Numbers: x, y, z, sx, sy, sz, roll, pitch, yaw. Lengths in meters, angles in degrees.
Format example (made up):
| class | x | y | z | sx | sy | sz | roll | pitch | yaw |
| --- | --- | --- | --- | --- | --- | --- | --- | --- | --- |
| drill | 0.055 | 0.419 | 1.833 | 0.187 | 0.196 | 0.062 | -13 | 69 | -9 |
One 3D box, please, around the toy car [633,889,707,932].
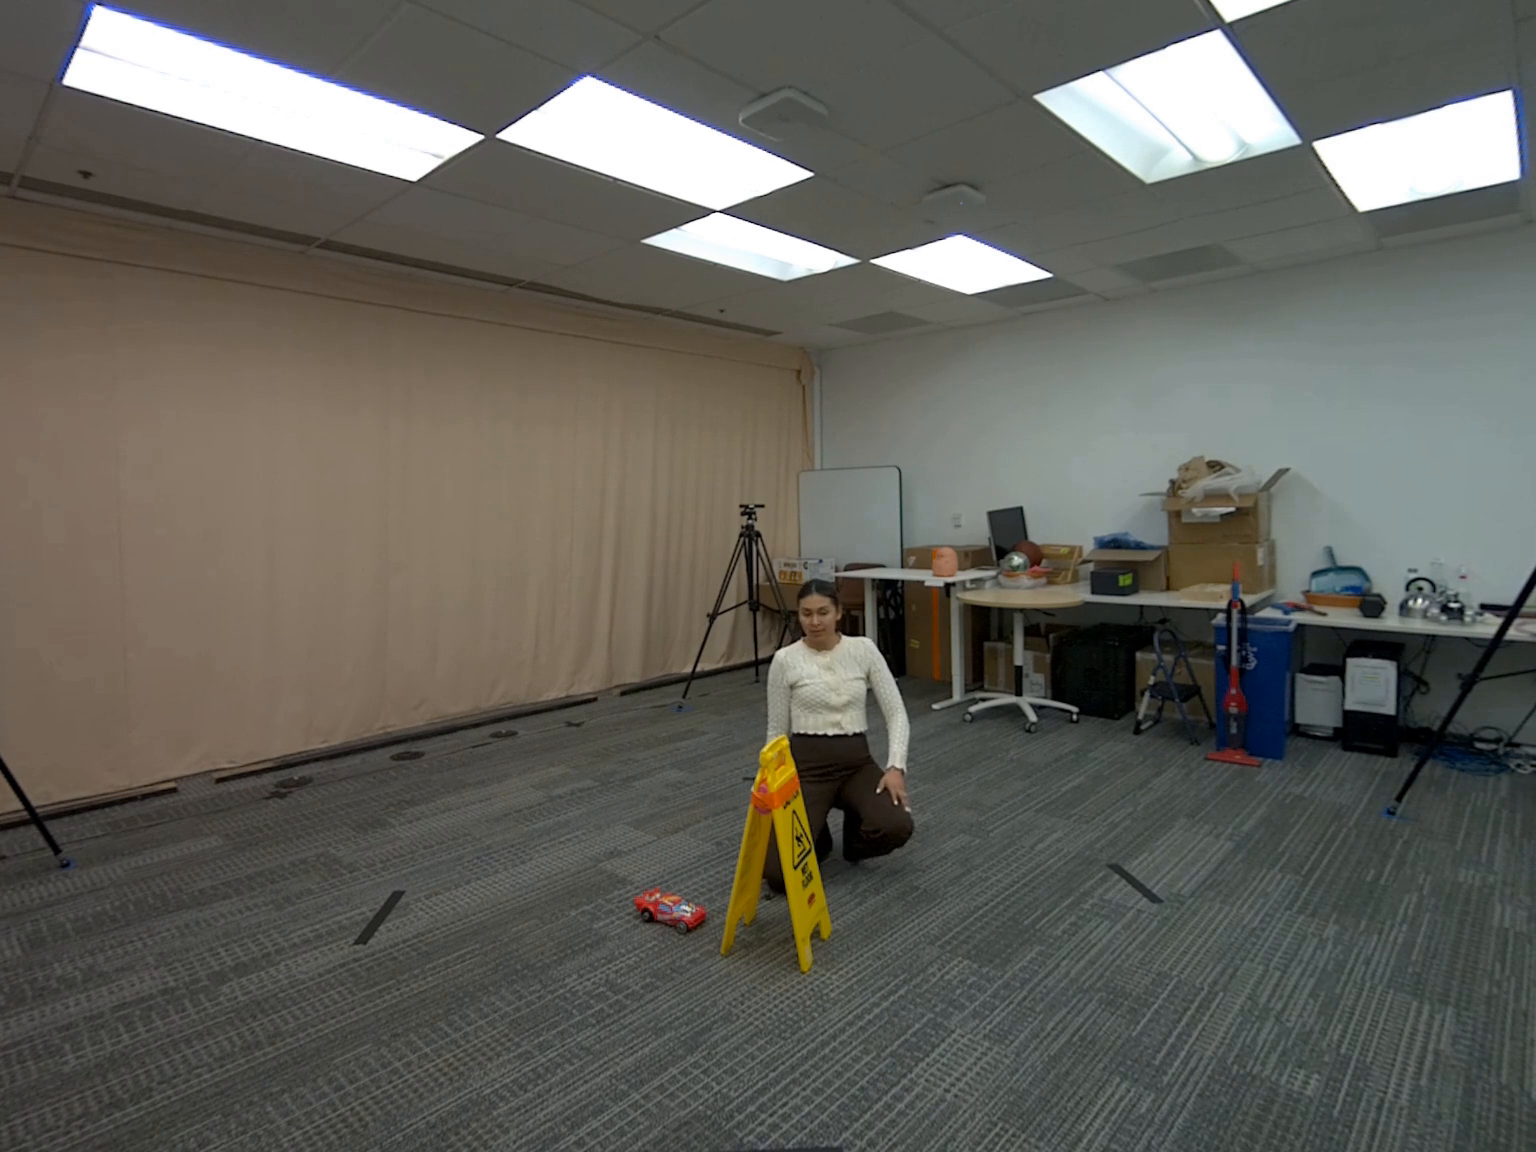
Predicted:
| class | x | y | z | sx | sy | sz | roll | pitch | yaw |
| --- | --- | --- | --- | --- | --- | --- | --- | --- | --- |
| toy car | -0.341 | 1.133 | 2.837 | 0.263 | 0.083 | 0.127 | 14 | 12 | 32 |
